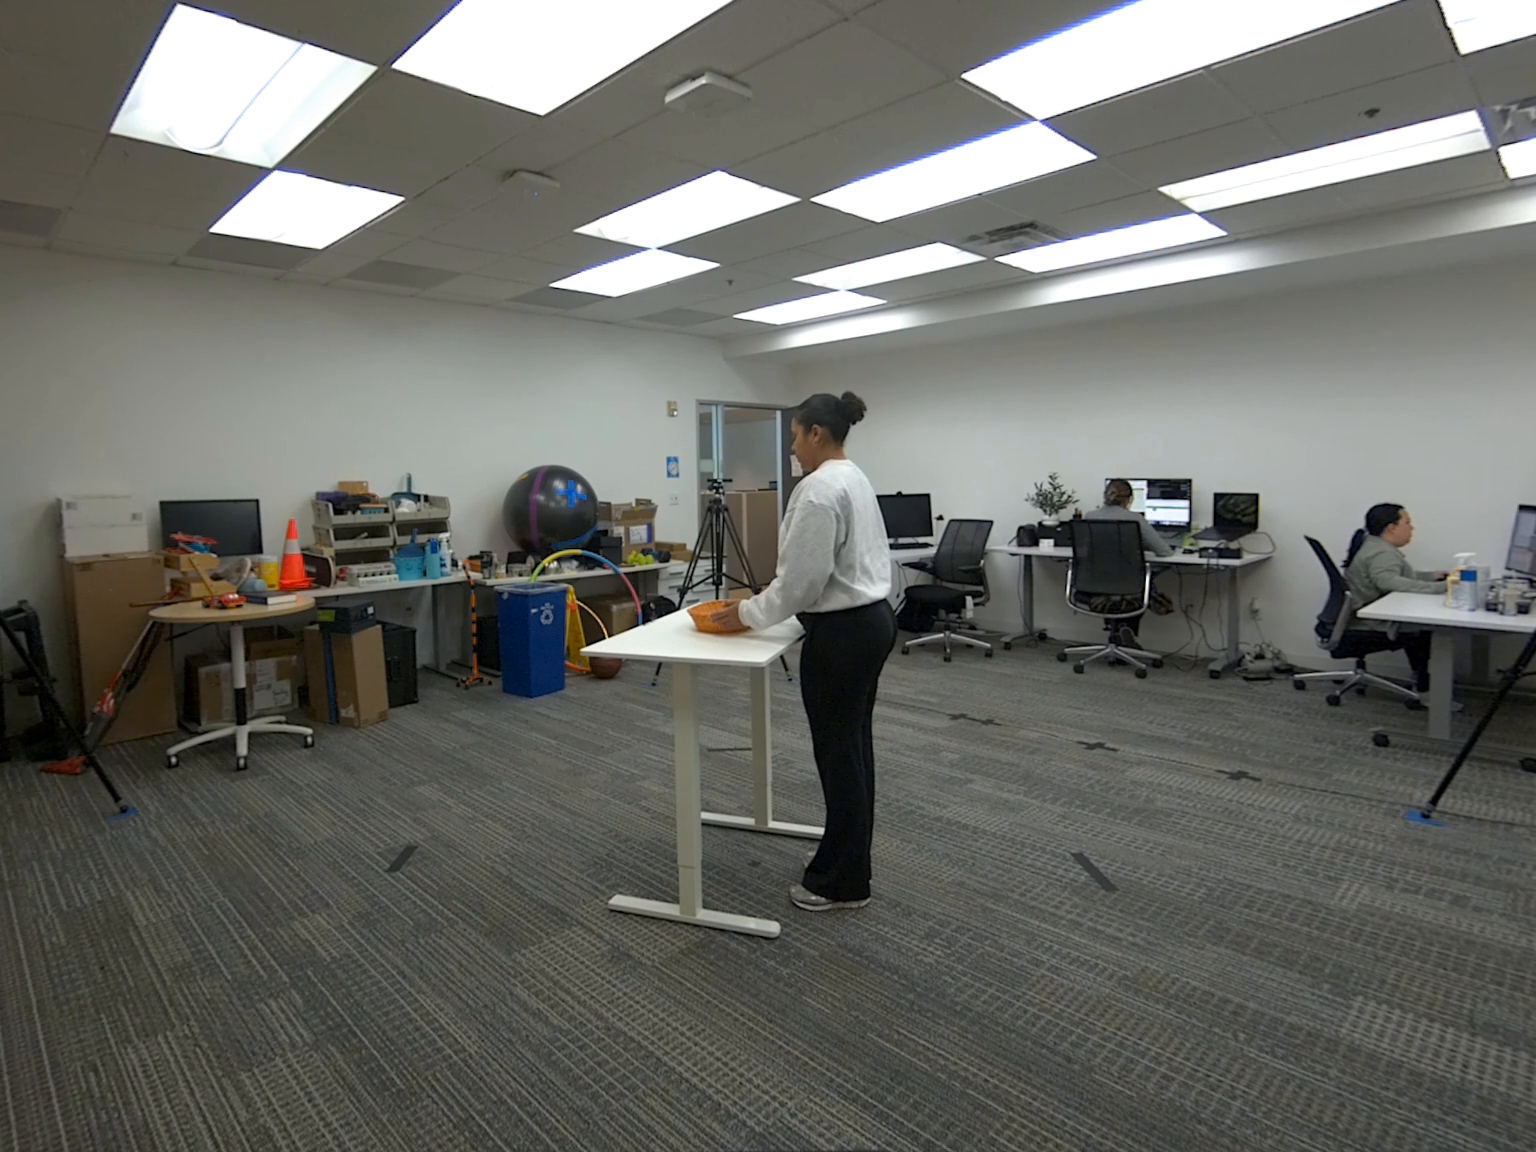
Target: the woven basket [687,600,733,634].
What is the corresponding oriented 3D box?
[{"bbox_3d":[-0.118,0.144,2.993,0.257,0.073,0.345,2,7,21],"label":"woven basket"}]
